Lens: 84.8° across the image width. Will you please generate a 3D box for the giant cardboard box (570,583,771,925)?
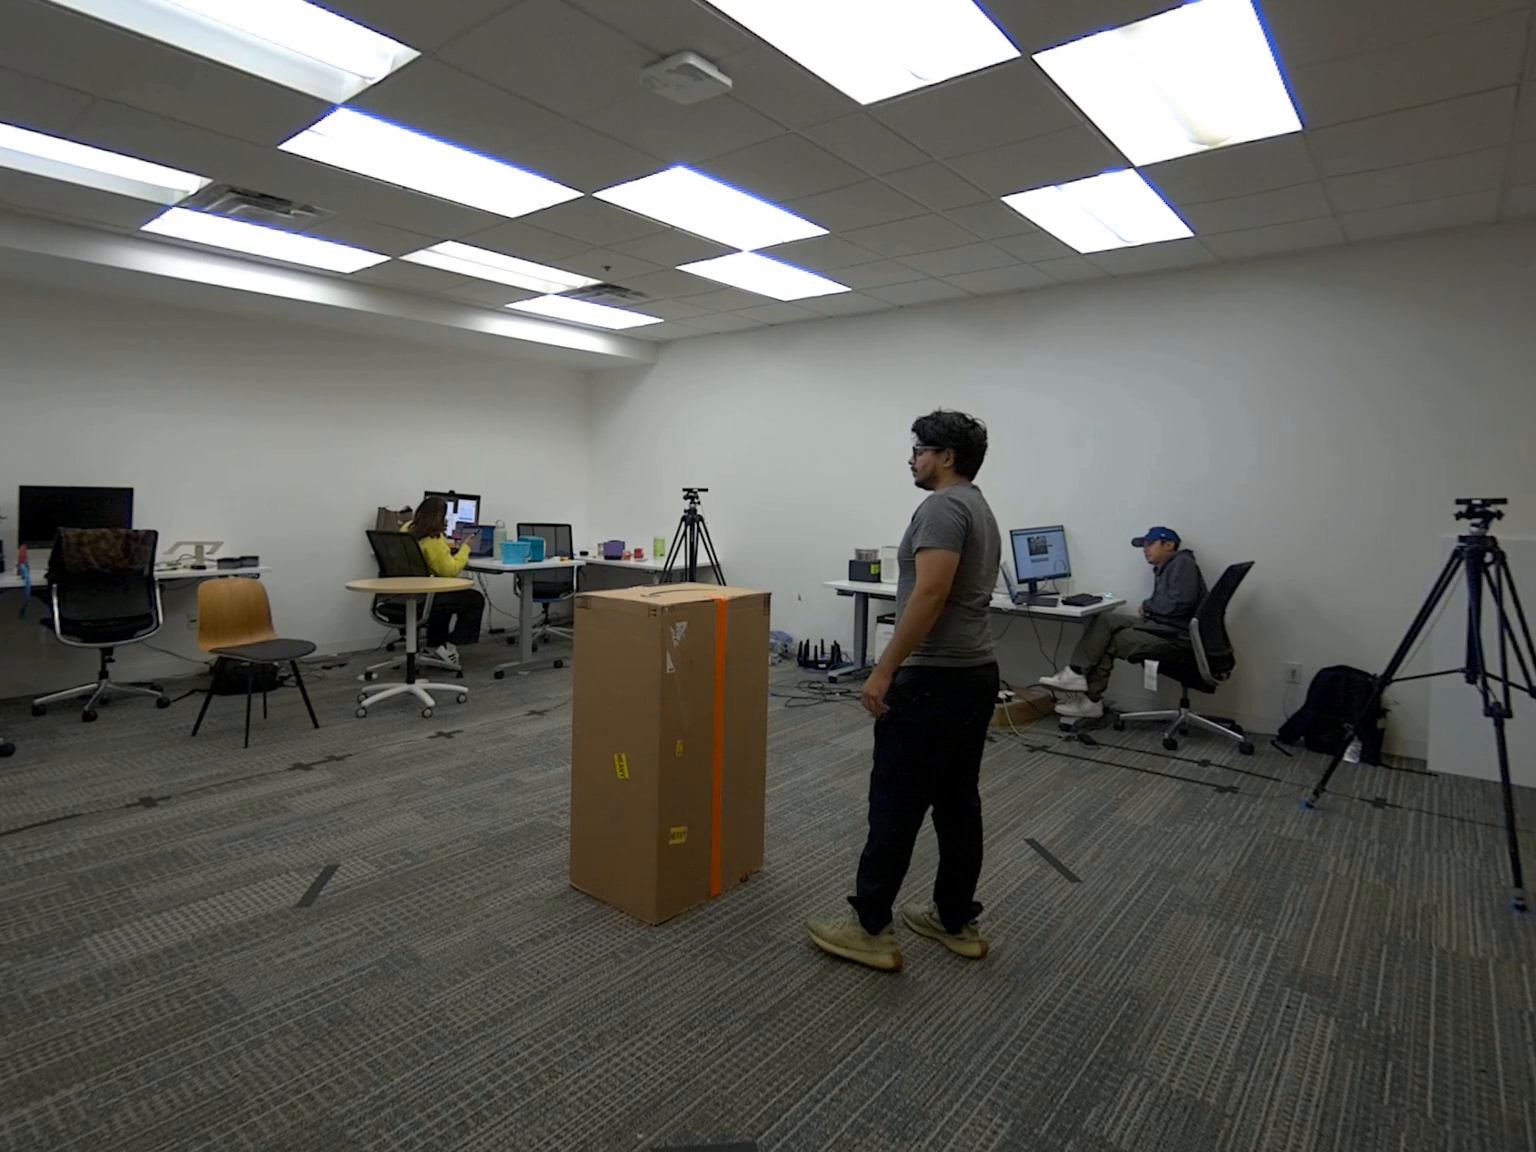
[{"bbox_3d":[-0.347,0.568,3.018,0.440,1.023,0.560,3,4,39],"label":"giant cardboard box"}]
